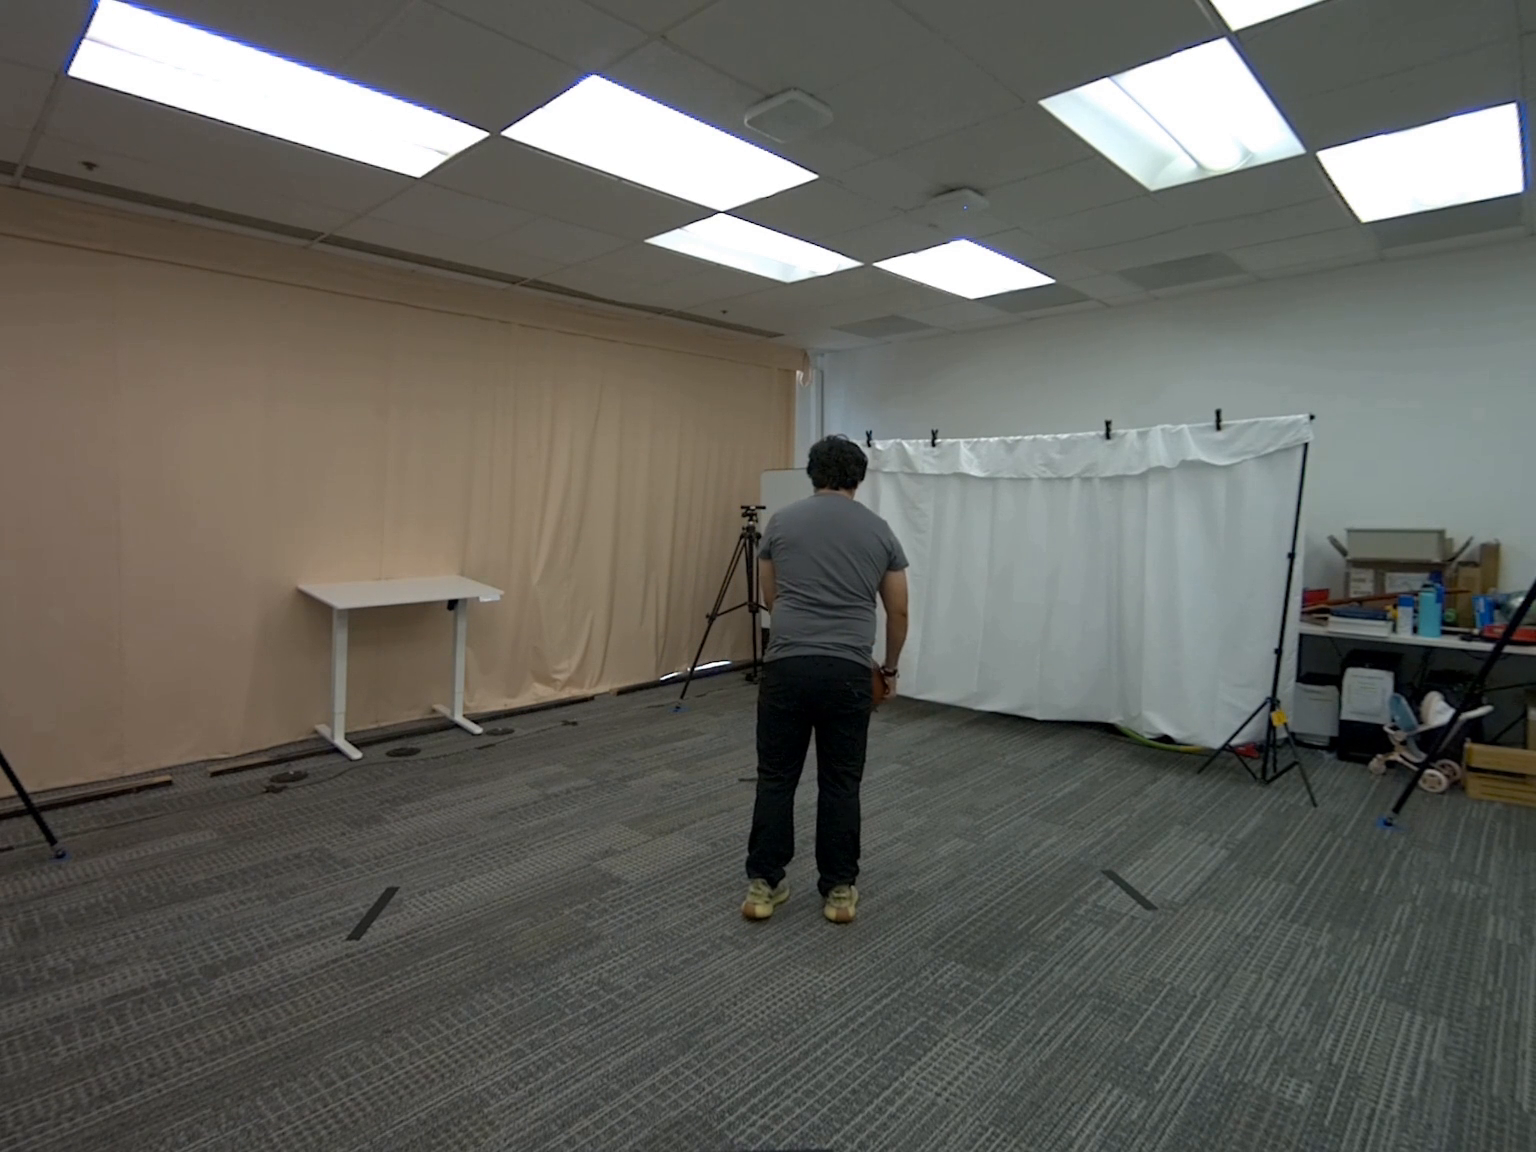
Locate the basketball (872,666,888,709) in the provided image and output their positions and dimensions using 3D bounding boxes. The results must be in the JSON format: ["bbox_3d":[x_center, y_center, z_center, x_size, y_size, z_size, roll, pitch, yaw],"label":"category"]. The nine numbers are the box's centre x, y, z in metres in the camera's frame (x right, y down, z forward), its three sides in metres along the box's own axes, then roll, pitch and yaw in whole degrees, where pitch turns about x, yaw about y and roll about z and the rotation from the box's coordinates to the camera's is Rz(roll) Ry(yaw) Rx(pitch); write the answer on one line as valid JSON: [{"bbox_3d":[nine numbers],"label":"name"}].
[{"bbox_3d":[0.326,0.399,3.149,0.236,0.235,0.237,0,4,-2],"label":"basketball"}]
